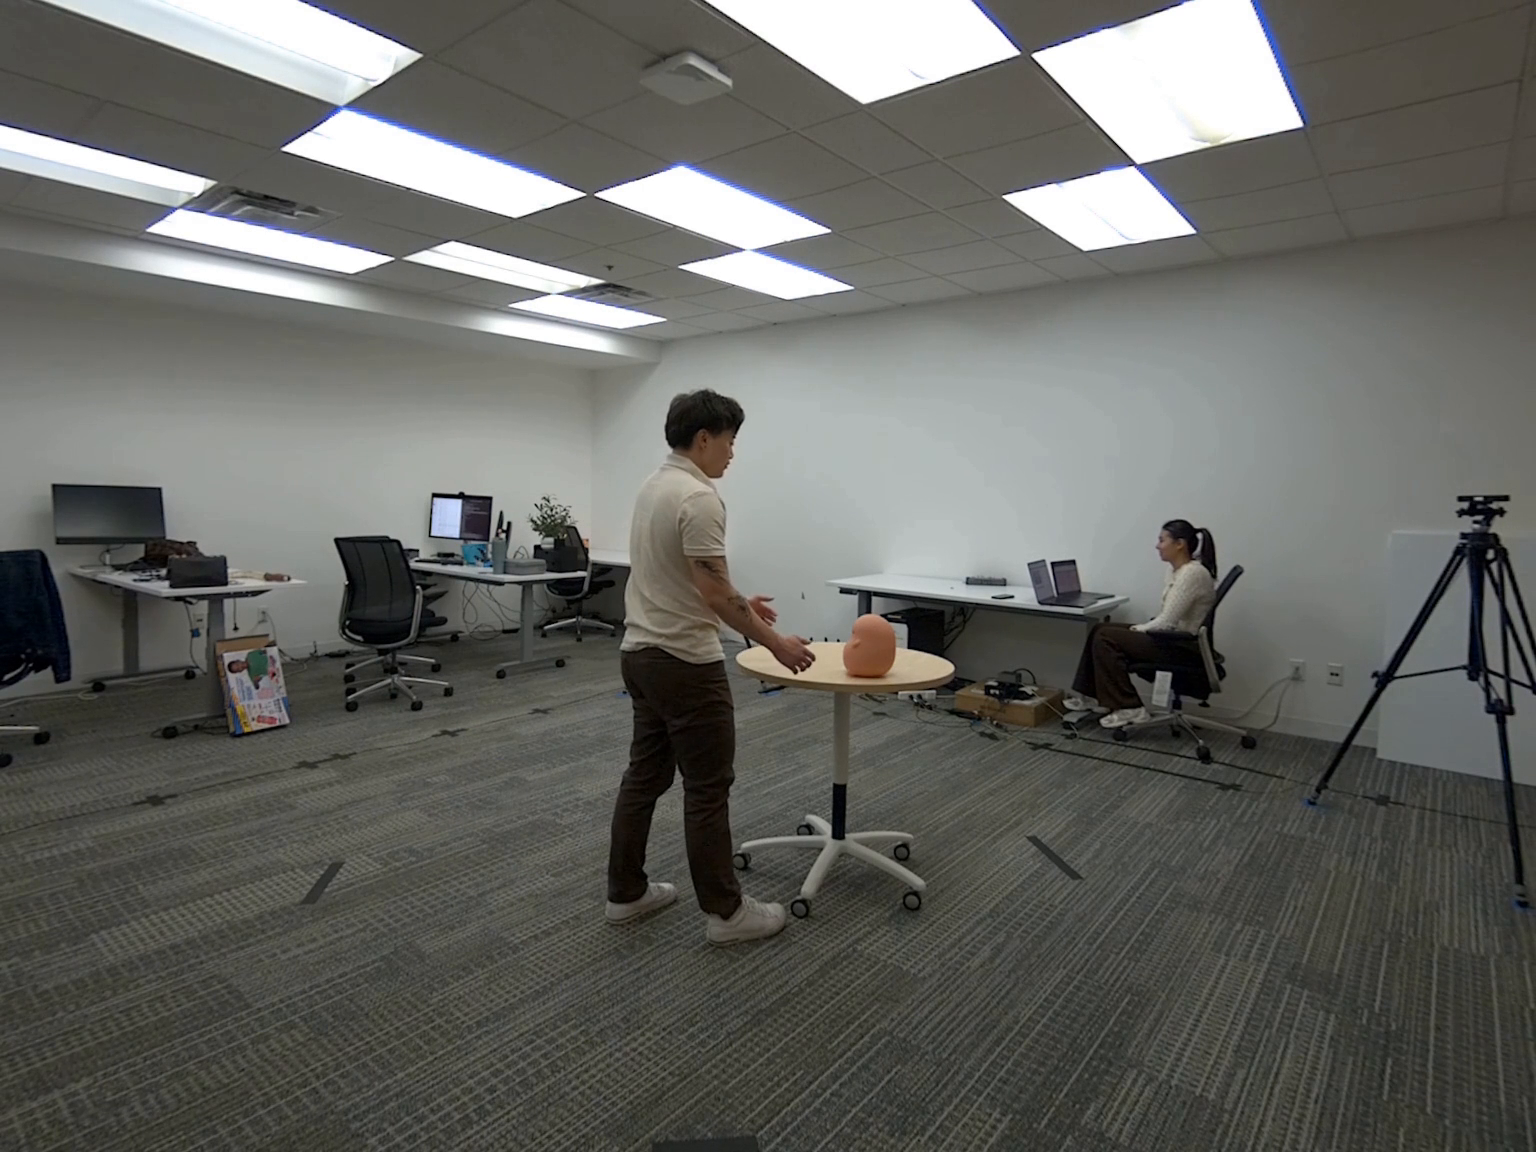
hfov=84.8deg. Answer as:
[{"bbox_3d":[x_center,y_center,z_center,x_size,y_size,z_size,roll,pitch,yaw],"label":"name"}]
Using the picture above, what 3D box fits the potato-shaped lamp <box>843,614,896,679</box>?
[{"bbox_3d":[0.328,0.226,2.795,0.172,0.196,0.166,3,9,1],"label":"potato-shaped lamp"}]
